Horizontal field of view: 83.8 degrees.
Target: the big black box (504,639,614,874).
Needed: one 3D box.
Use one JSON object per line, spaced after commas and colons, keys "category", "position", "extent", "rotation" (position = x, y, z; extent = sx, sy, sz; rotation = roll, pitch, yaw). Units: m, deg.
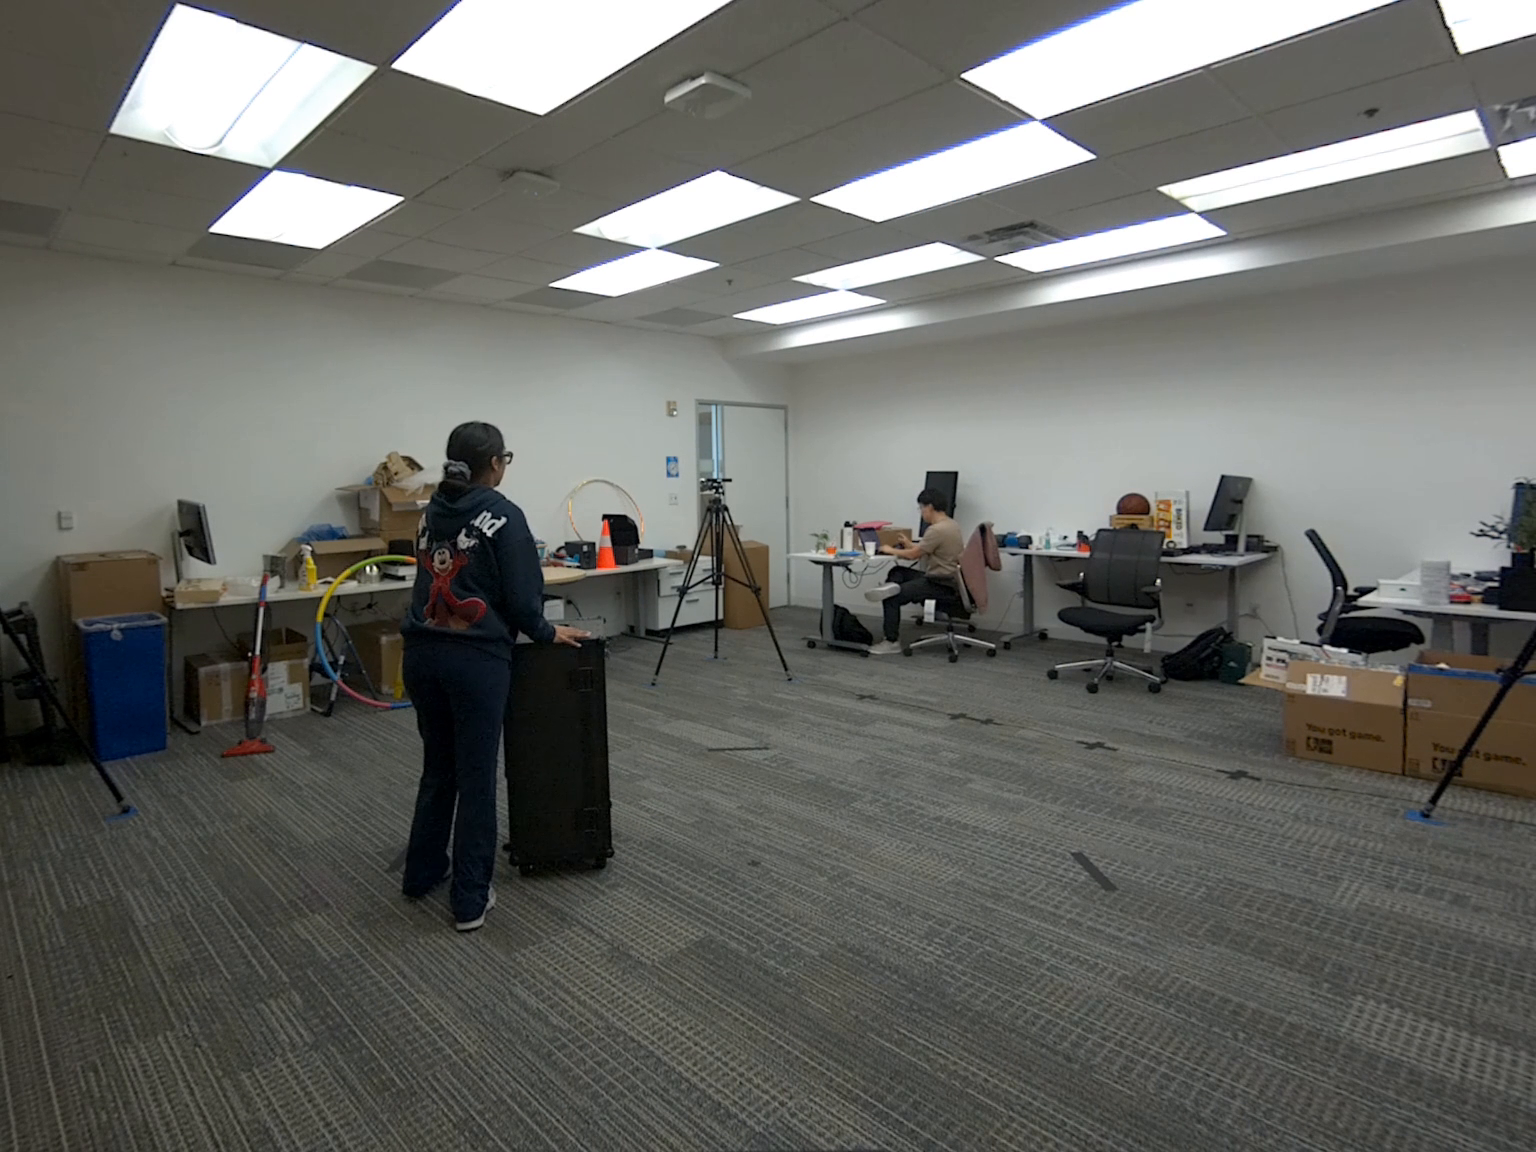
{"category": "big black box", "position": [-0.783, 0.624, 3.198], "extent": [0.392, 0.858, 0.529], "rotation": [-3, 5, -11]}
